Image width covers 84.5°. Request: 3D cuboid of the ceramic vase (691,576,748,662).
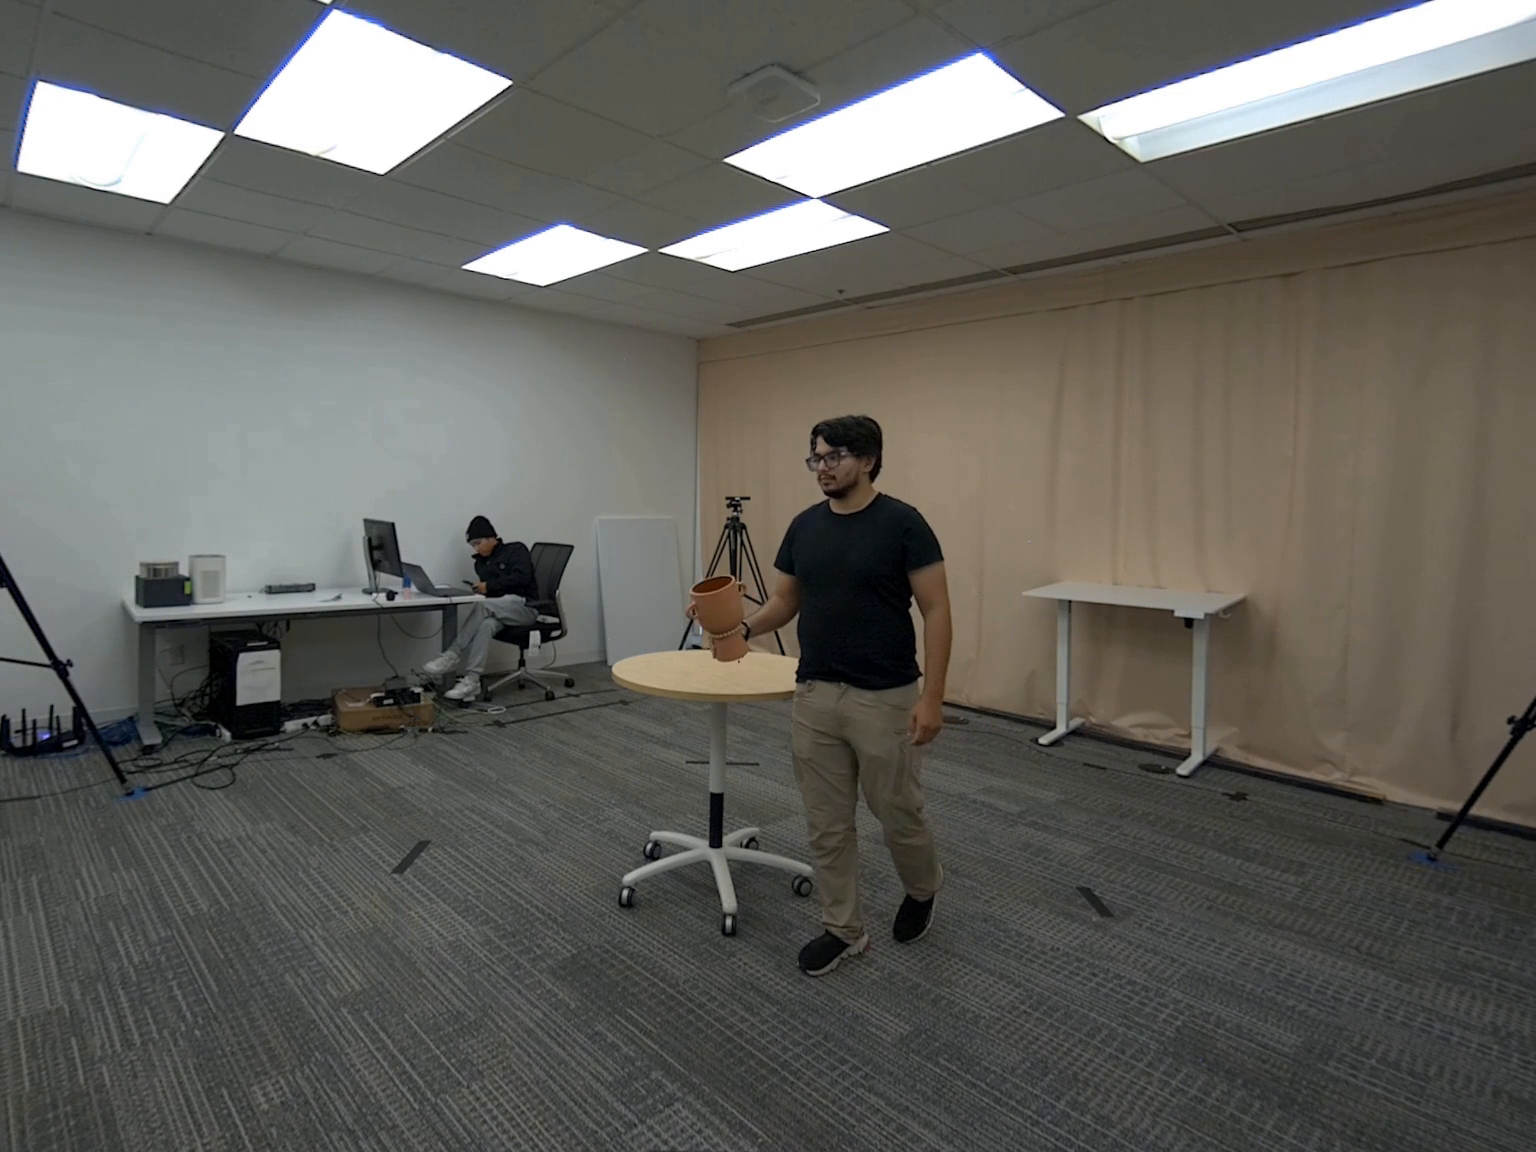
[{"bbox_3d":[-0.126,0.126,2.383,0.160,0.216,0.136,-11,20,12],"label":"ceramic vase"}]
